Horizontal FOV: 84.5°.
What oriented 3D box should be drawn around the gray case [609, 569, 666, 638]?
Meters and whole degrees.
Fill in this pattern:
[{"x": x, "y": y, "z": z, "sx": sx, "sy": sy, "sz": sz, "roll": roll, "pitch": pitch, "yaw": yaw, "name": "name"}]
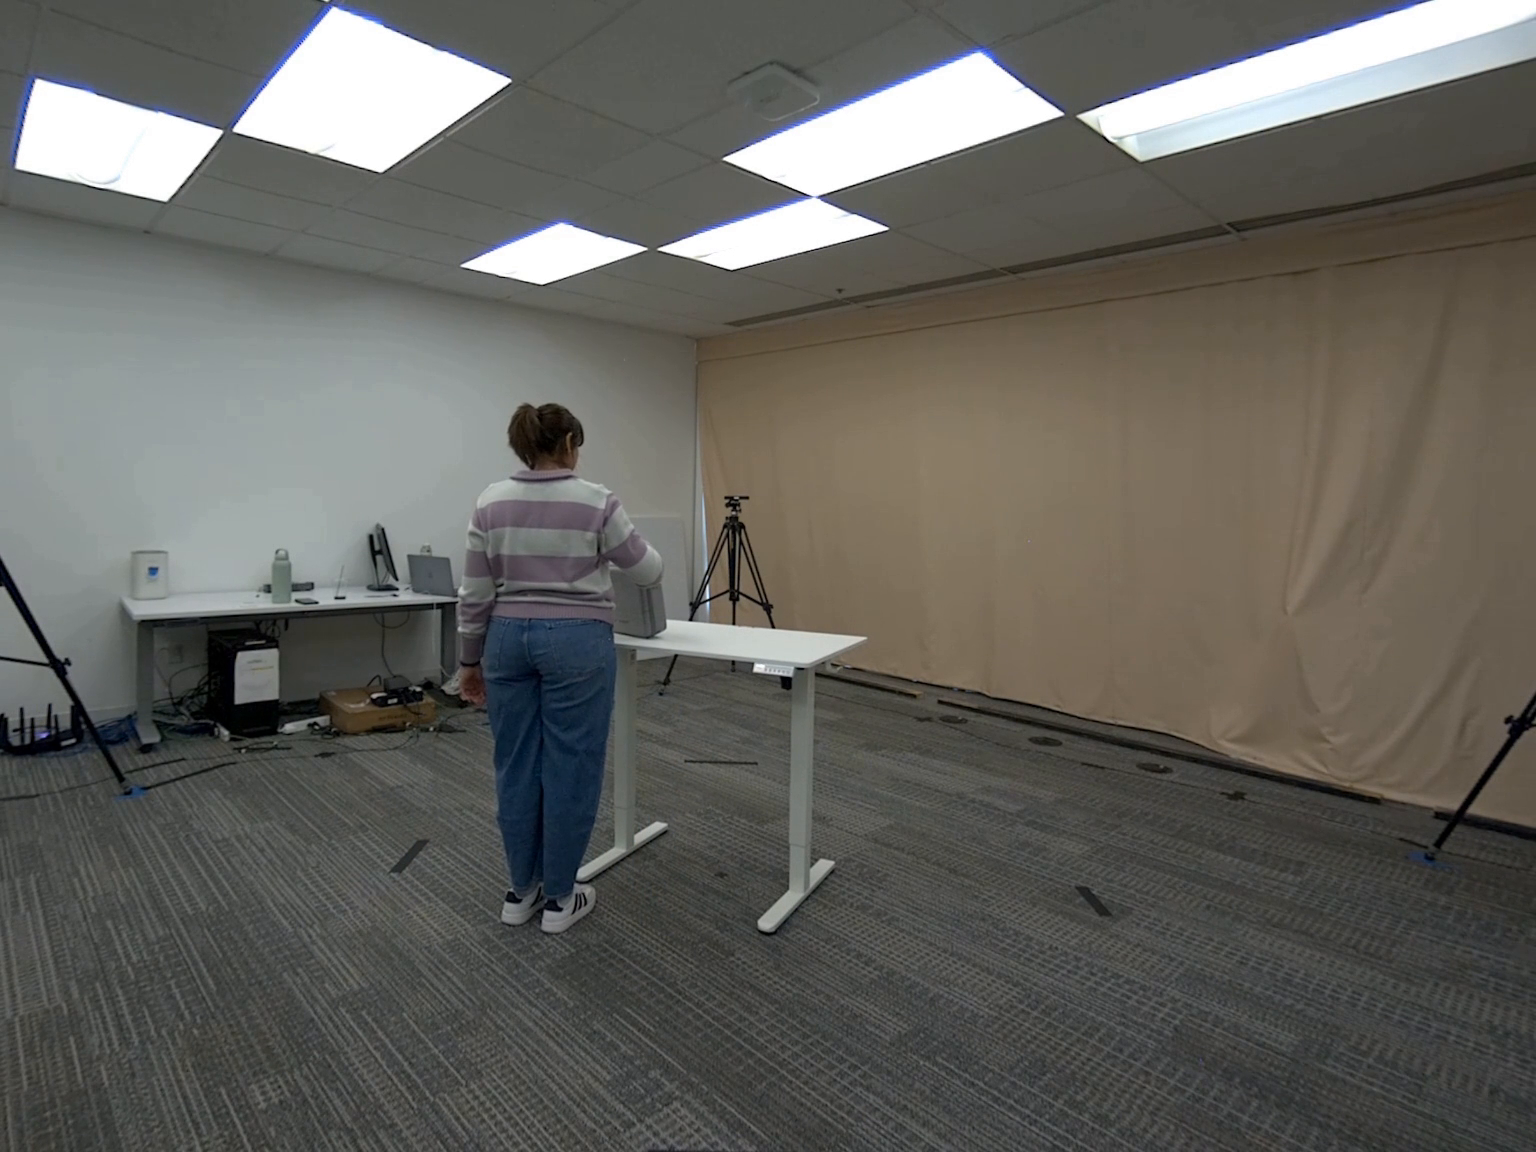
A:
[{"x": -0.497, "y": 0.080, "z": 3.071, "sx": 0.102, "sy": 0.259, "sz": 0.263, "roll": -11, "pitch": 10, "yaw": -42, "name": "gray case"}]
